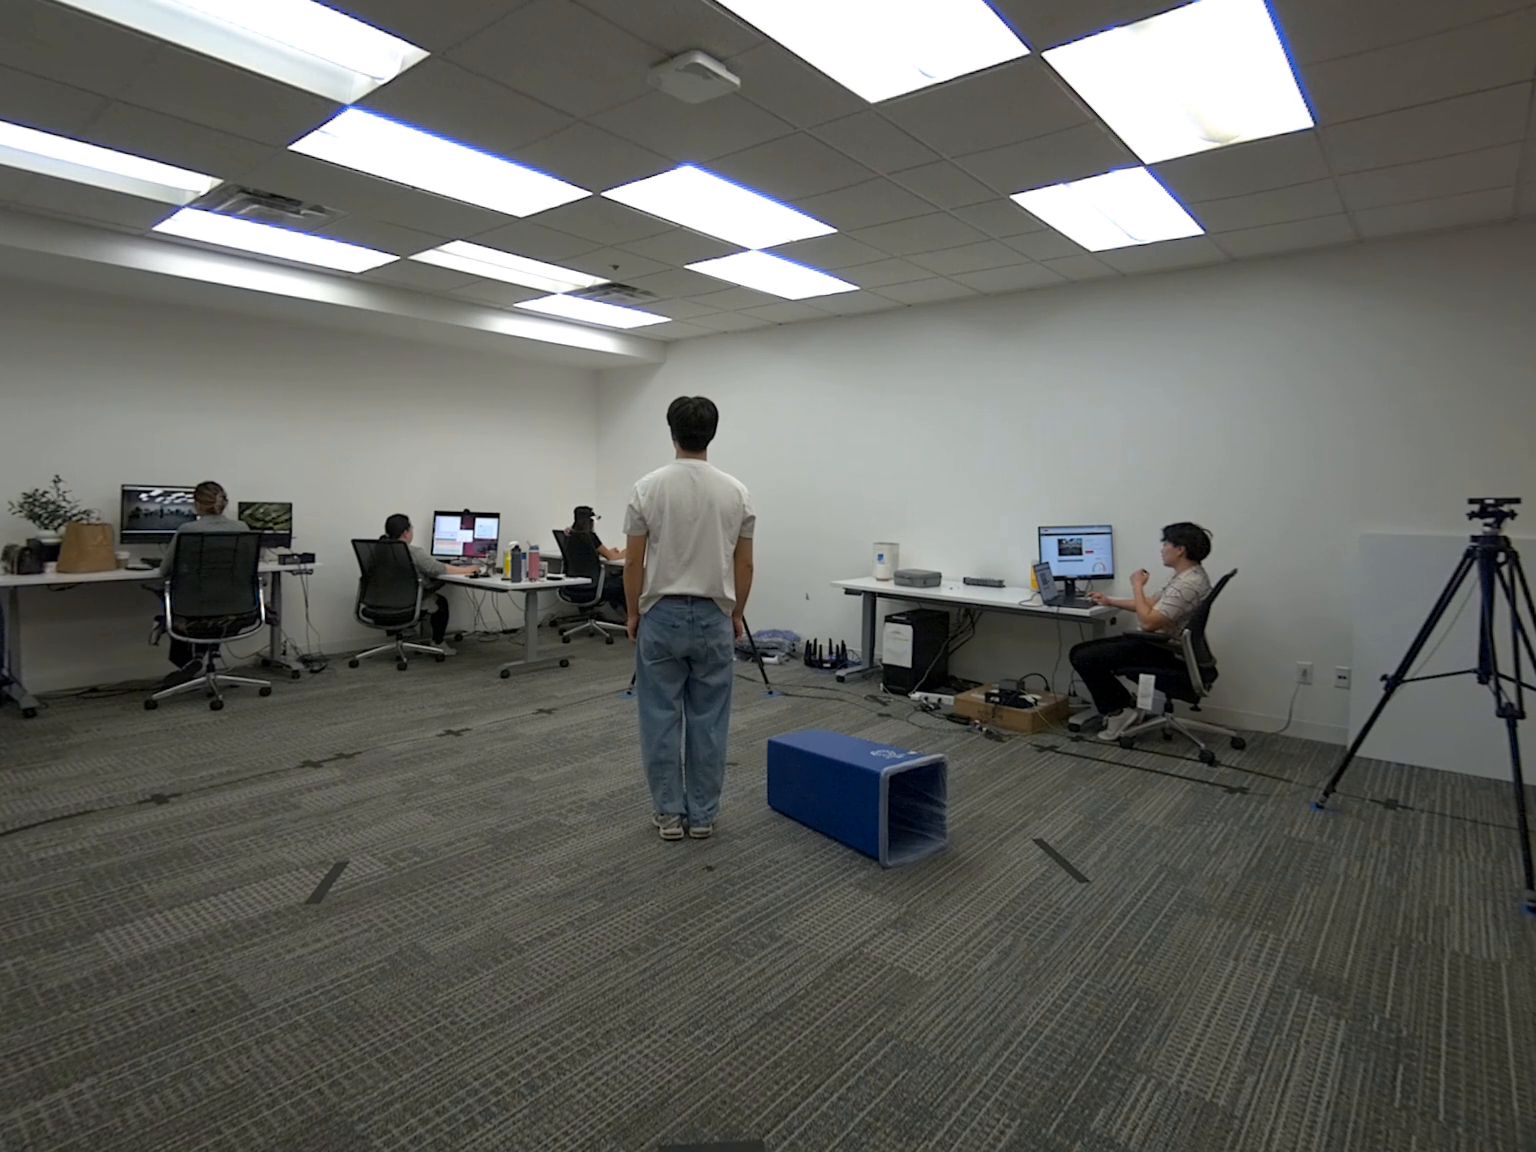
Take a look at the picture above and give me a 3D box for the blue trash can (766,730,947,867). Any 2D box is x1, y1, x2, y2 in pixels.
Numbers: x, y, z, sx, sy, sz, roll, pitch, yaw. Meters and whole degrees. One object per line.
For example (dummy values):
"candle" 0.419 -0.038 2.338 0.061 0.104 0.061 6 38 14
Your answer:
"blue trash can" 0.327 0.861 3.510 0.367 0.373 0.737 -3 5 -39
